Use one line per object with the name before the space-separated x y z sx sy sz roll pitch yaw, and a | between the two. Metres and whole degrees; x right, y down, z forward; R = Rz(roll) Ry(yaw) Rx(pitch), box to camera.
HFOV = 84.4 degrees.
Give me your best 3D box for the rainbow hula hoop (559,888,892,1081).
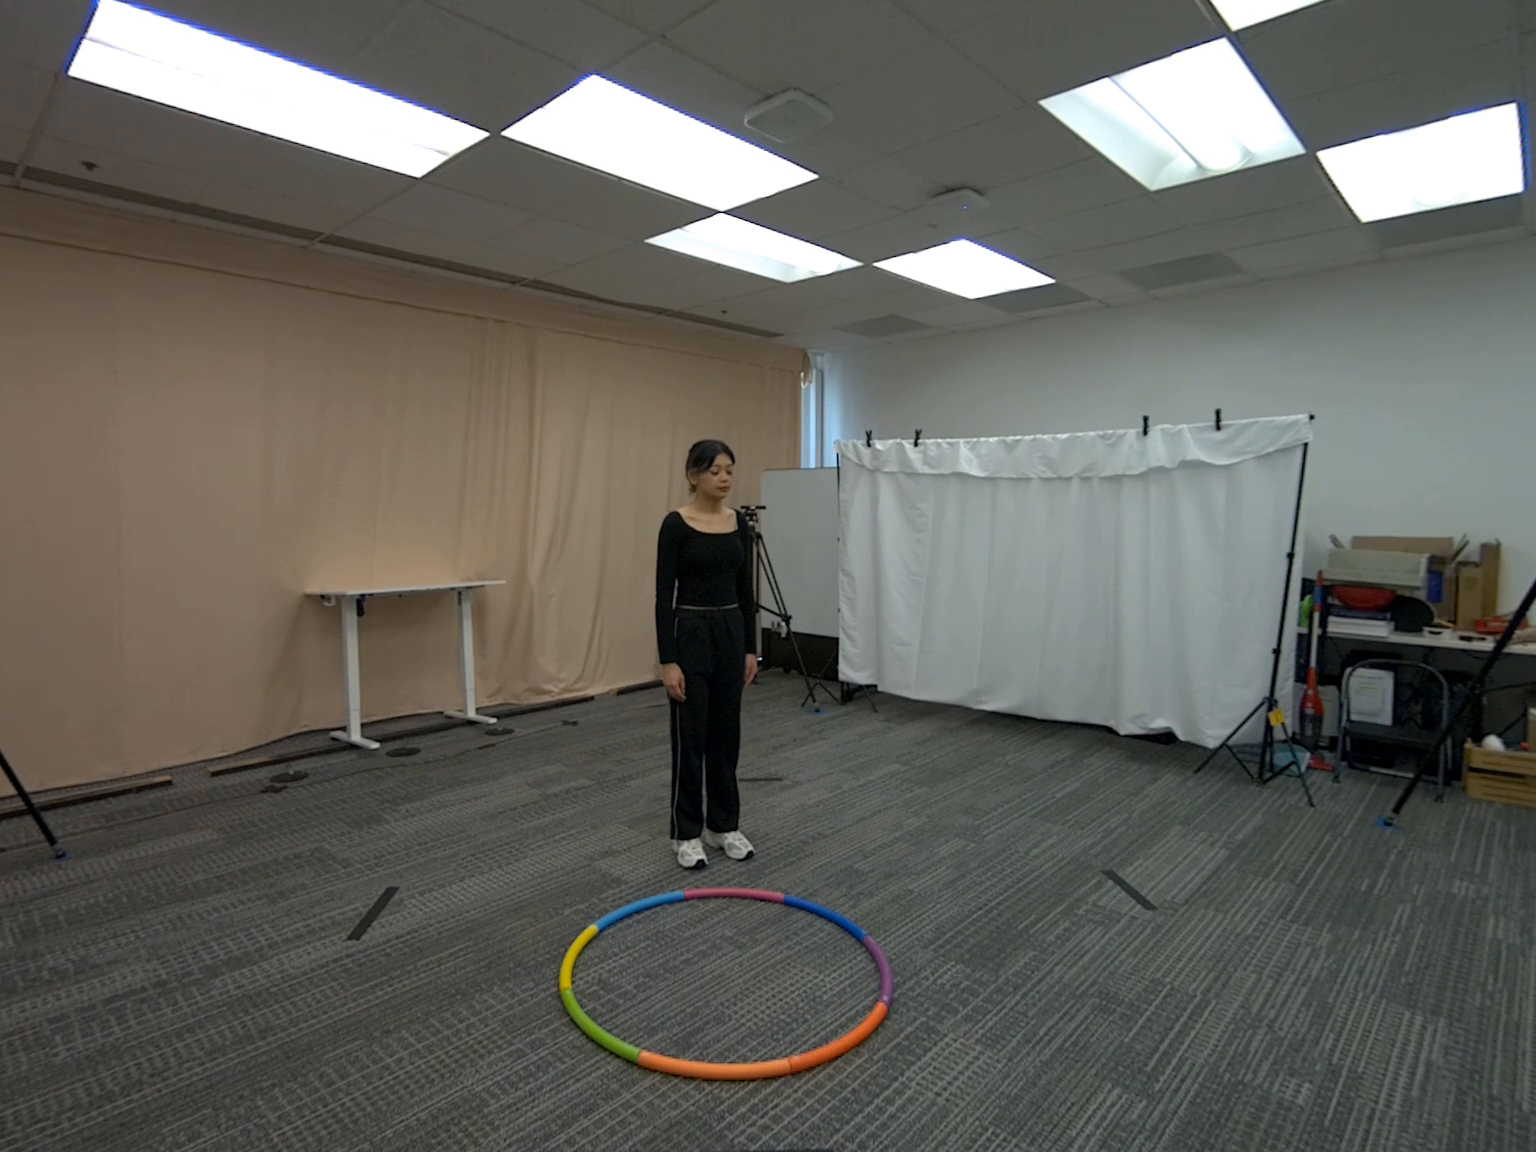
rainbow hula hoop | -0.124 1.154 2.527 0.978 0.035 0.982 0 4 -2
